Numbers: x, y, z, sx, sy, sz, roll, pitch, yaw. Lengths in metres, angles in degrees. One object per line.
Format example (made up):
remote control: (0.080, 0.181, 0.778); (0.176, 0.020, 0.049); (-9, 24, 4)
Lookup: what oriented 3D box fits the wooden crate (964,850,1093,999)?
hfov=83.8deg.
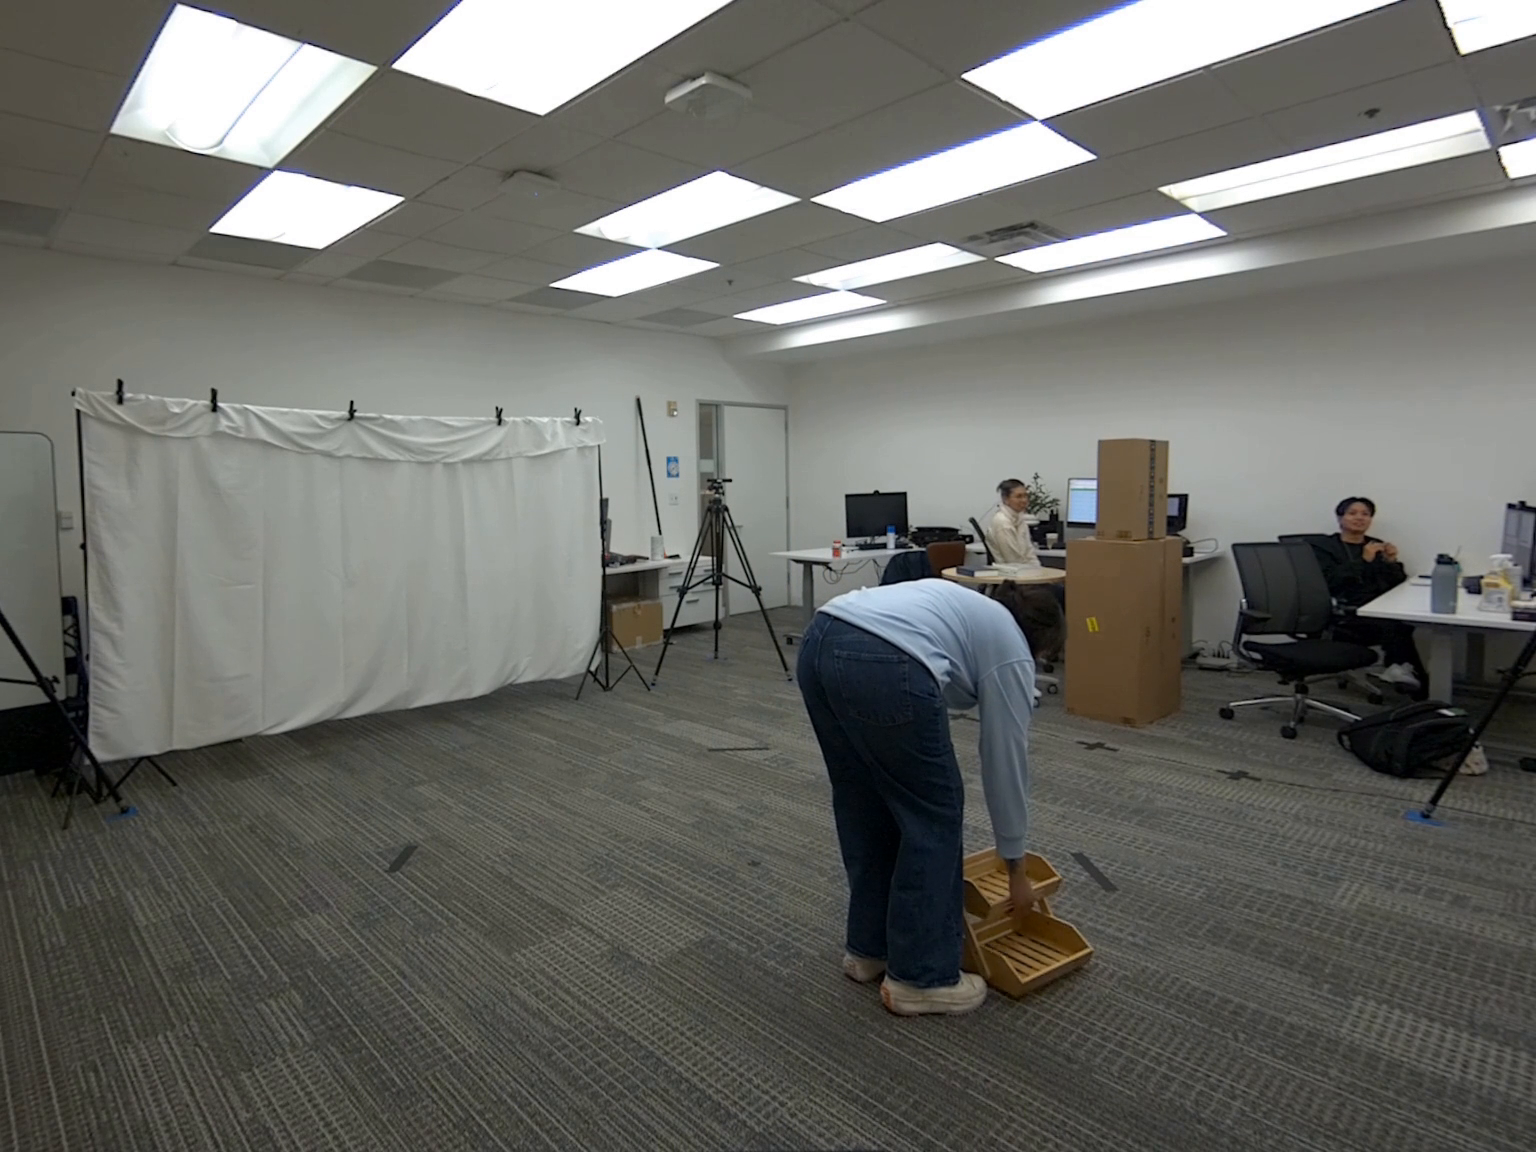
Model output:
wooden crate: (0.705, 0.965, 2.439); (0.316, 0.273, 0.309); (-4, 1, -33)
